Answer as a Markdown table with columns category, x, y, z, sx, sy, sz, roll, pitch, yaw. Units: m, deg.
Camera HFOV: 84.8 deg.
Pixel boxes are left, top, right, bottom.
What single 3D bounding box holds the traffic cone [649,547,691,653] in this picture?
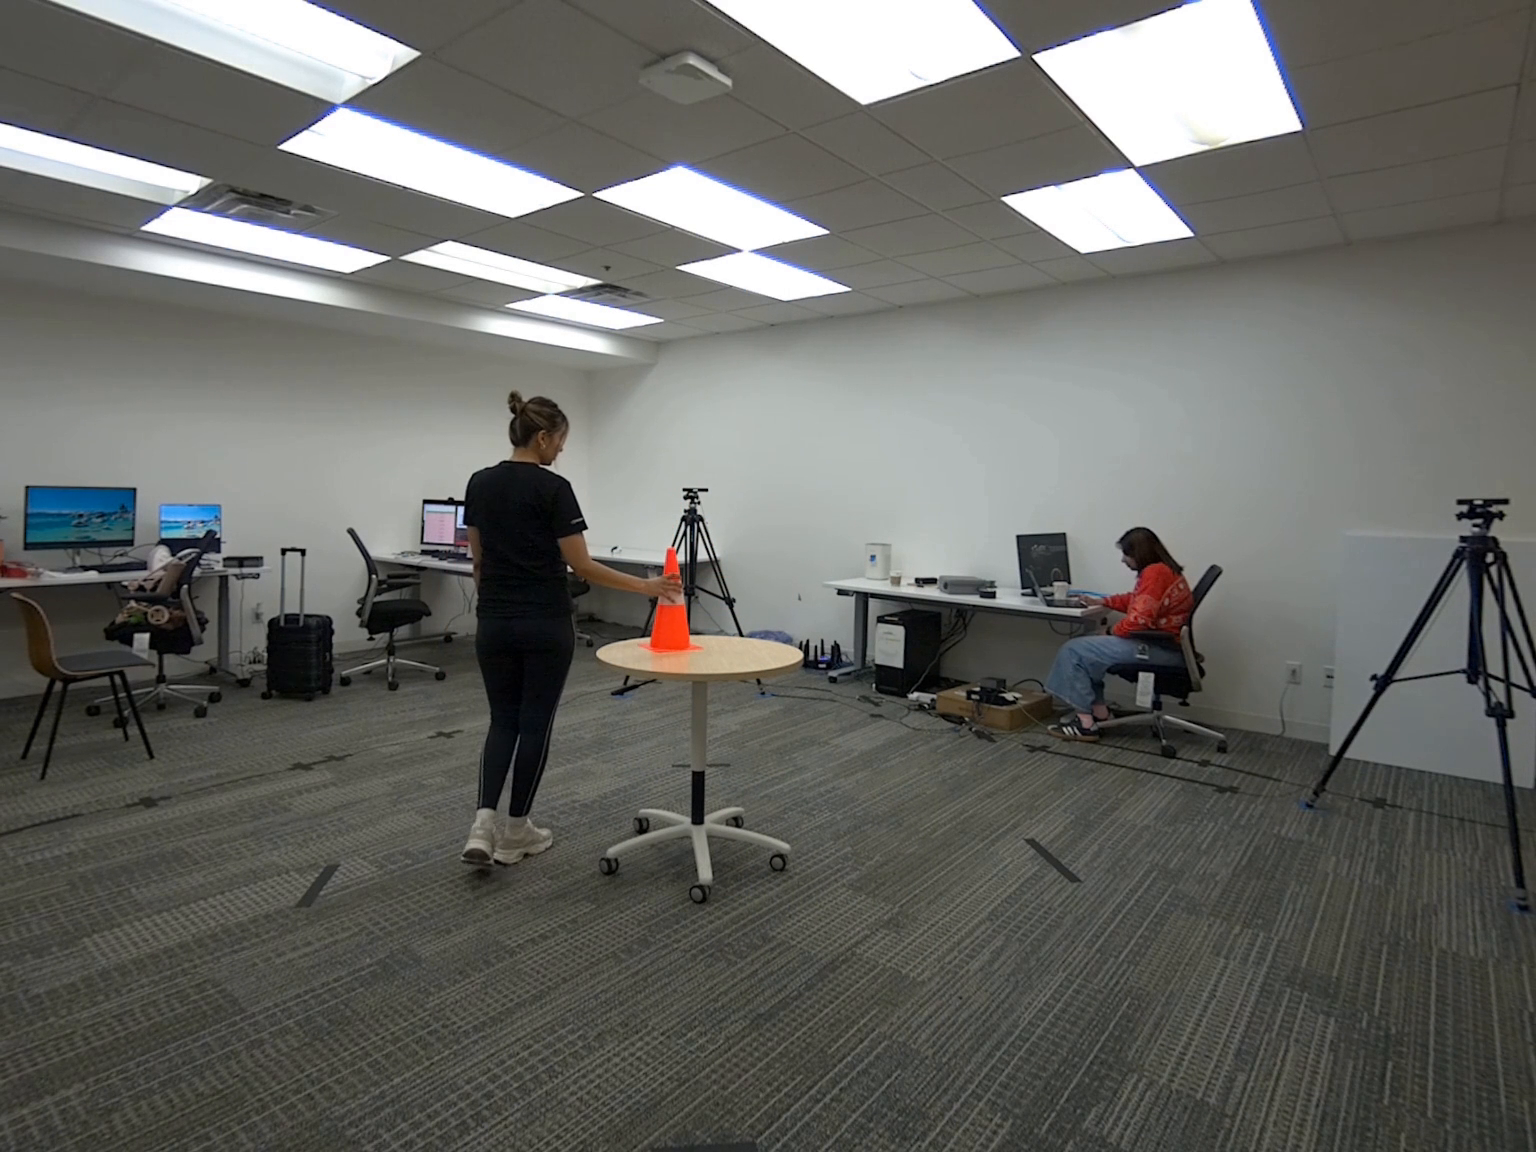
| category | x | y | z | sx | sy | sz | roll | pitch | yaw |
| --- | --- | --- | --- | --- | --- | --- | --- | --- | --- |
| traffic cone | -0.388 | 0.085 | 3.252 | 0.209 | 0.383 | 0.199 | 1 | 3 | 31 |
